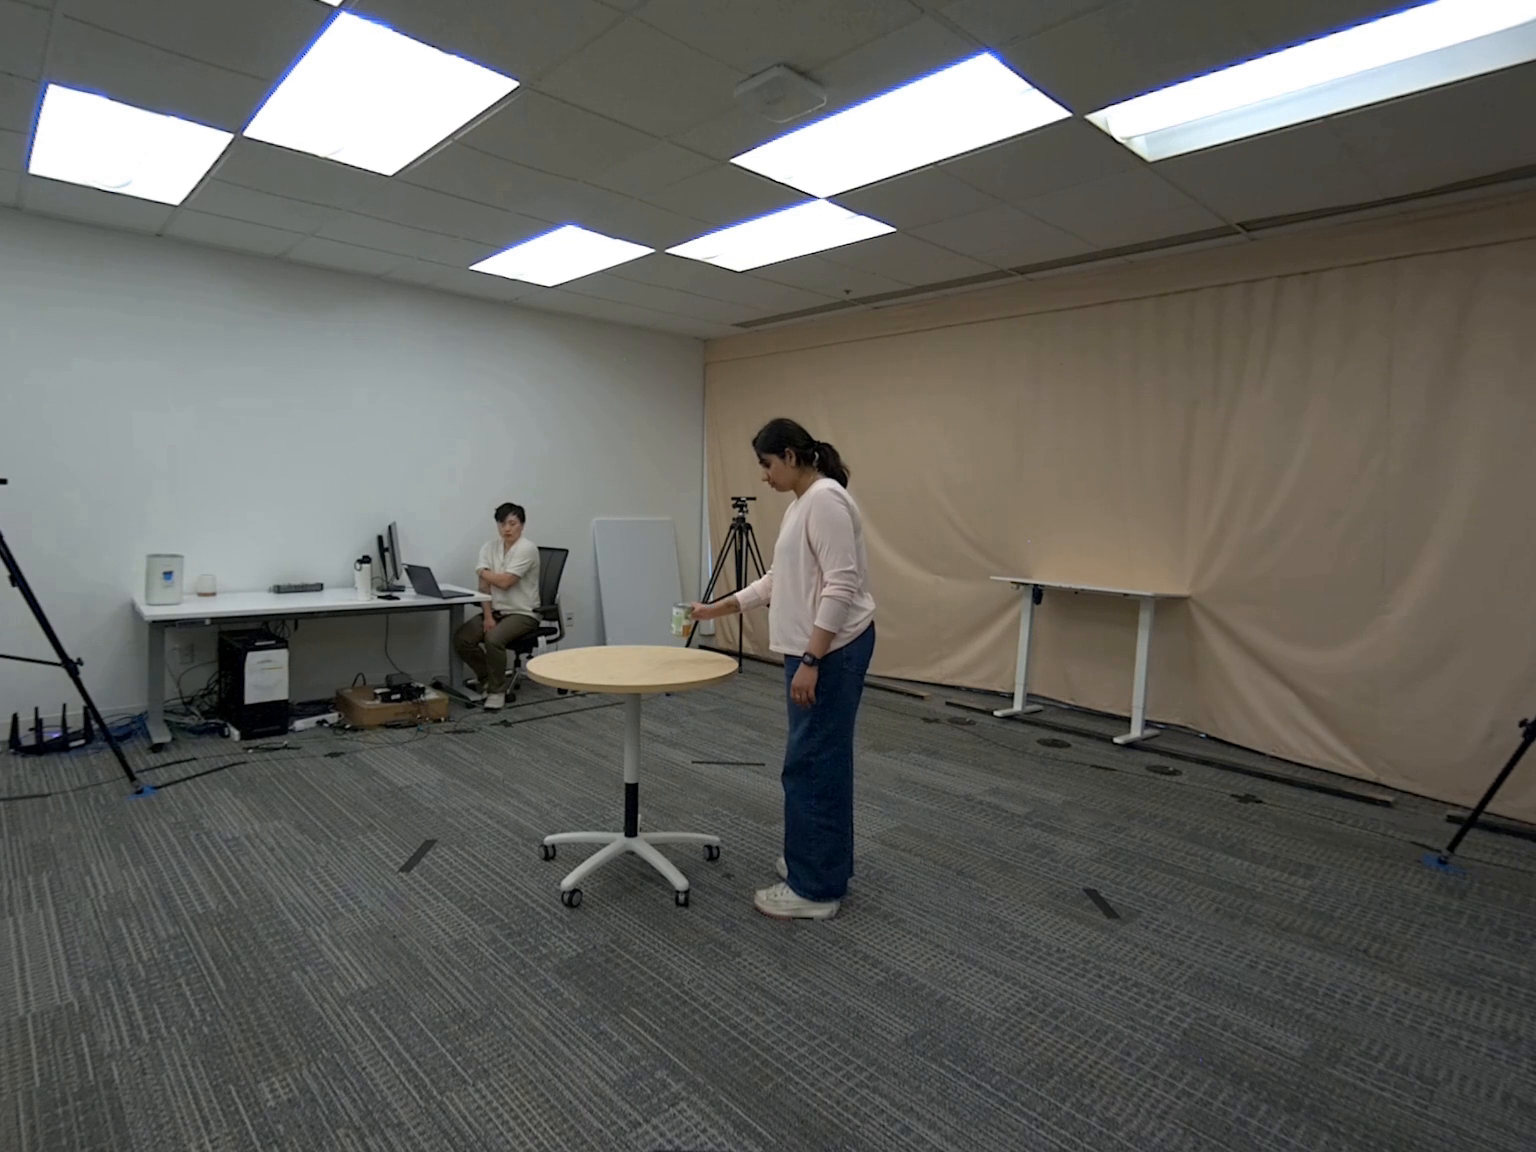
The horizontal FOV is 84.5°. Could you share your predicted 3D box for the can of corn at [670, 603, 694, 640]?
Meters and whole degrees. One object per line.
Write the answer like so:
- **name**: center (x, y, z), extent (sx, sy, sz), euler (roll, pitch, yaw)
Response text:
- **can of corn**: center (-0.319, 0.160, 3.098), extent (0.074, 0.110, 0.074), euler (3, 7, -2)
